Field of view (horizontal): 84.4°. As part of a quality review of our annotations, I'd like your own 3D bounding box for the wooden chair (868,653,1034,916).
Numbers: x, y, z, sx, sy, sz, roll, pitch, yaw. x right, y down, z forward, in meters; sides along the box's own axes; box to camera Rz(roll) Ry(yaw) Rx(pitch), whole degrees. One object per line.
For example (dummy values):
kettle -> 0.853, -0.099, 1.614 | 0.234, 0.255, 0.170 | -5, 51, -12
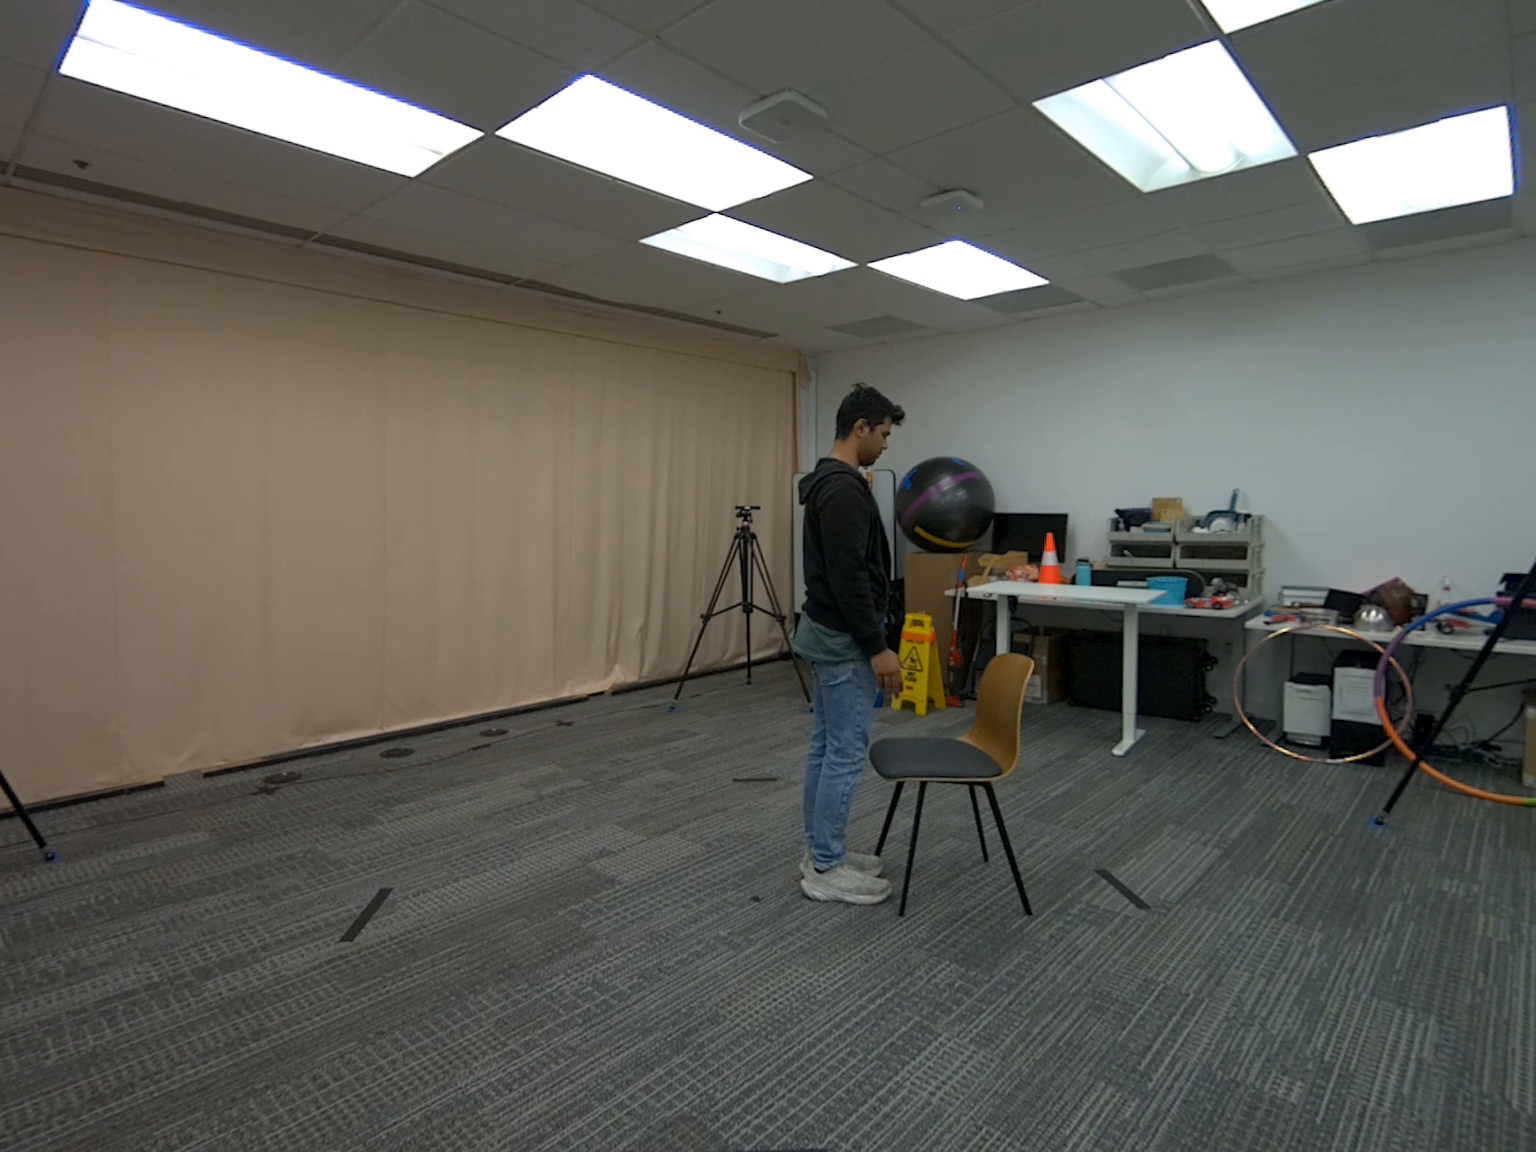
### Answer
wooden chair -> 0.651, 0.711, 3.040 | 0.522, 0.875, 0.481 | 4, 3, -4
